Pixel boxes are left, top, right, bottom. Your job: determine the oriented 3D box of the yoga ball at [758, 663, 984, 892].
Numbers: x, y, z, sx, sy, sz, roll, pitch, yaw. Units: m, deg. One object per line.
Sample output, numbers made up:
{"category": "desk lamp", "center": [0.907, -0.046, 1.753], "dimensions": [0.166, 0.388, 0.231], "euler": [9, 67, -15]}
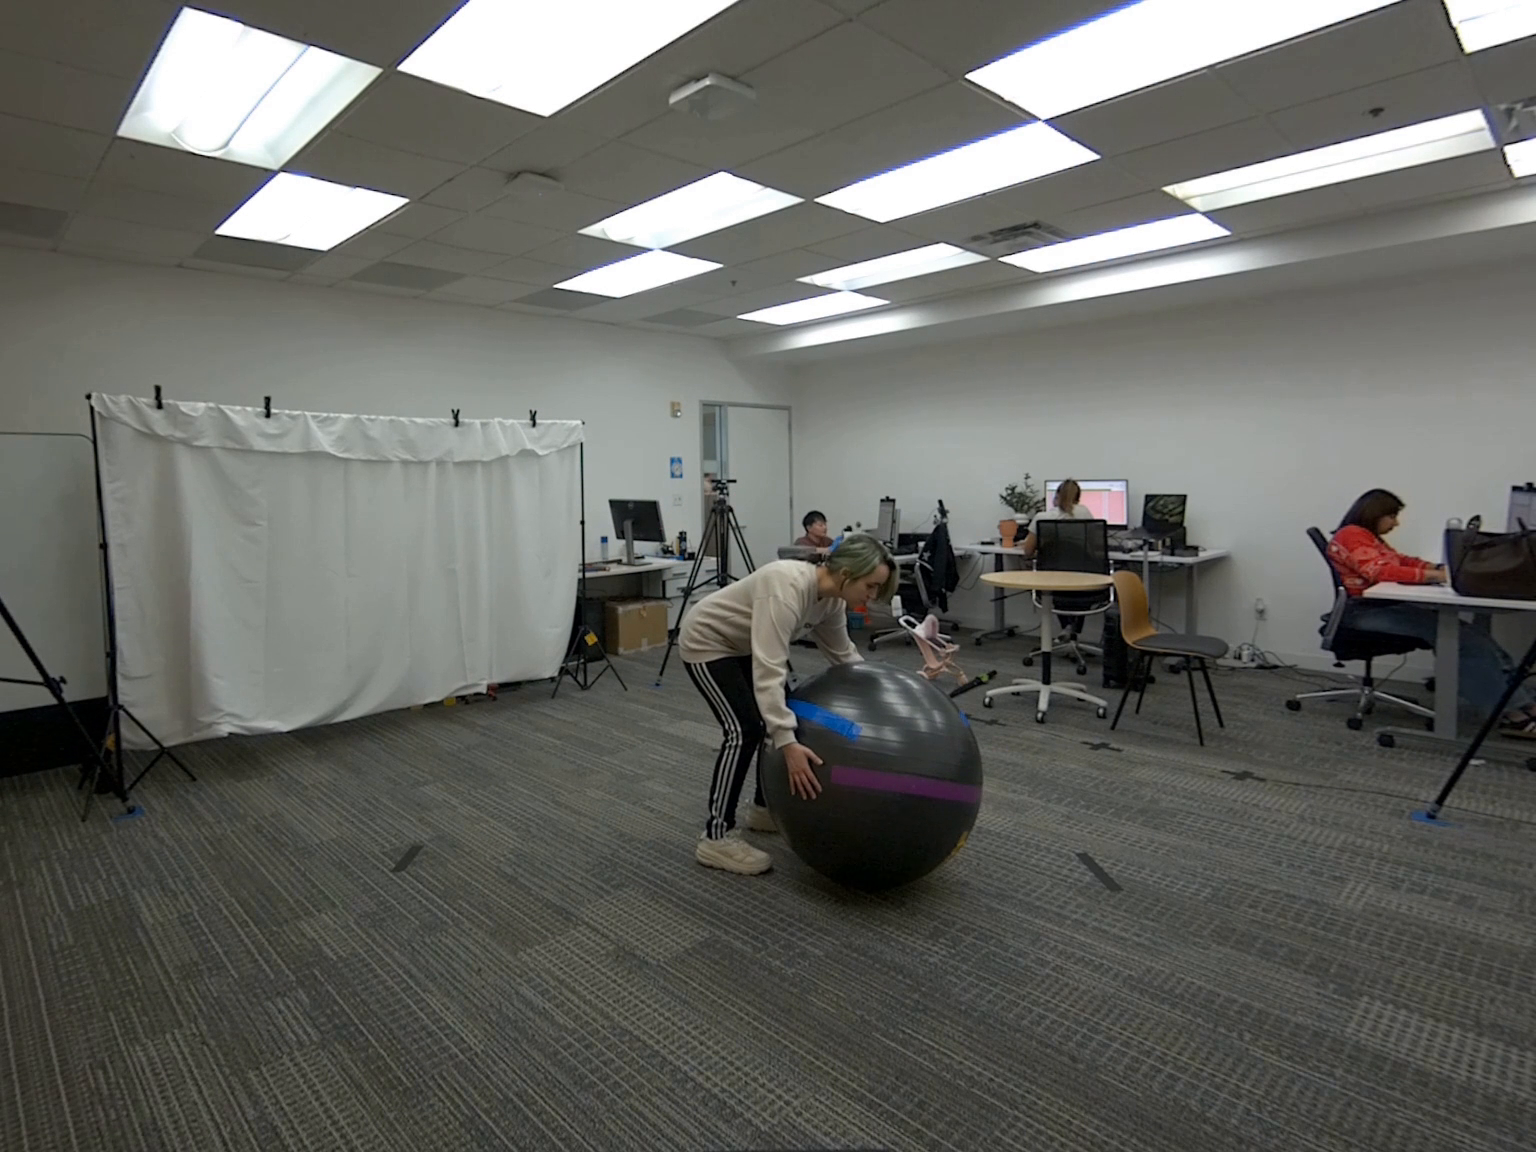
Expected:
{"category": "yoga ball", "center": [0.358, 0.678, 2.968], "dimensions": [0.757, 0.755, 0.762], "euler": [-1, 5, -2]}
